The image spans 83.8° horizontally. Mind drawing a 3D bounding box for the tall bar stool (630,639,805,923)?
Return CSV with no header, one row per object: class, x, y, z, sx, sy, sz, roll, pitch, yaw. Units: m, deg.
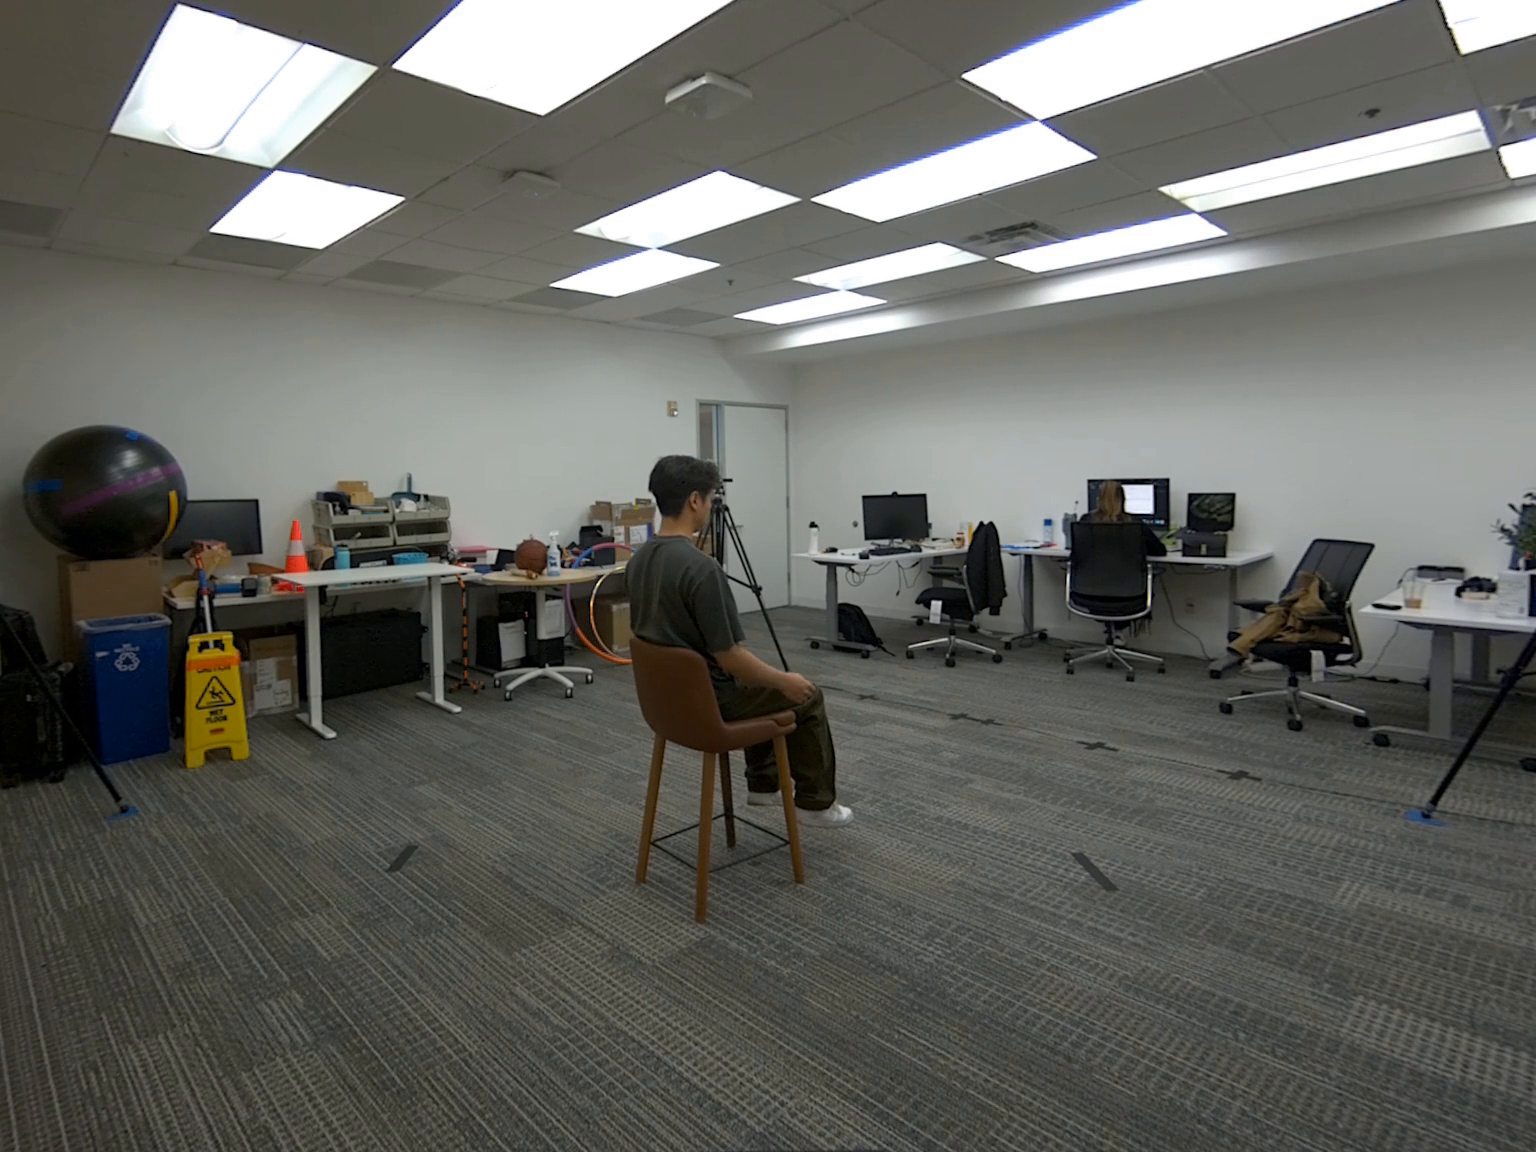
tall bar stool,-0.188,0.632,2.933,0.456,0.885,0.470,-8,8,-40
